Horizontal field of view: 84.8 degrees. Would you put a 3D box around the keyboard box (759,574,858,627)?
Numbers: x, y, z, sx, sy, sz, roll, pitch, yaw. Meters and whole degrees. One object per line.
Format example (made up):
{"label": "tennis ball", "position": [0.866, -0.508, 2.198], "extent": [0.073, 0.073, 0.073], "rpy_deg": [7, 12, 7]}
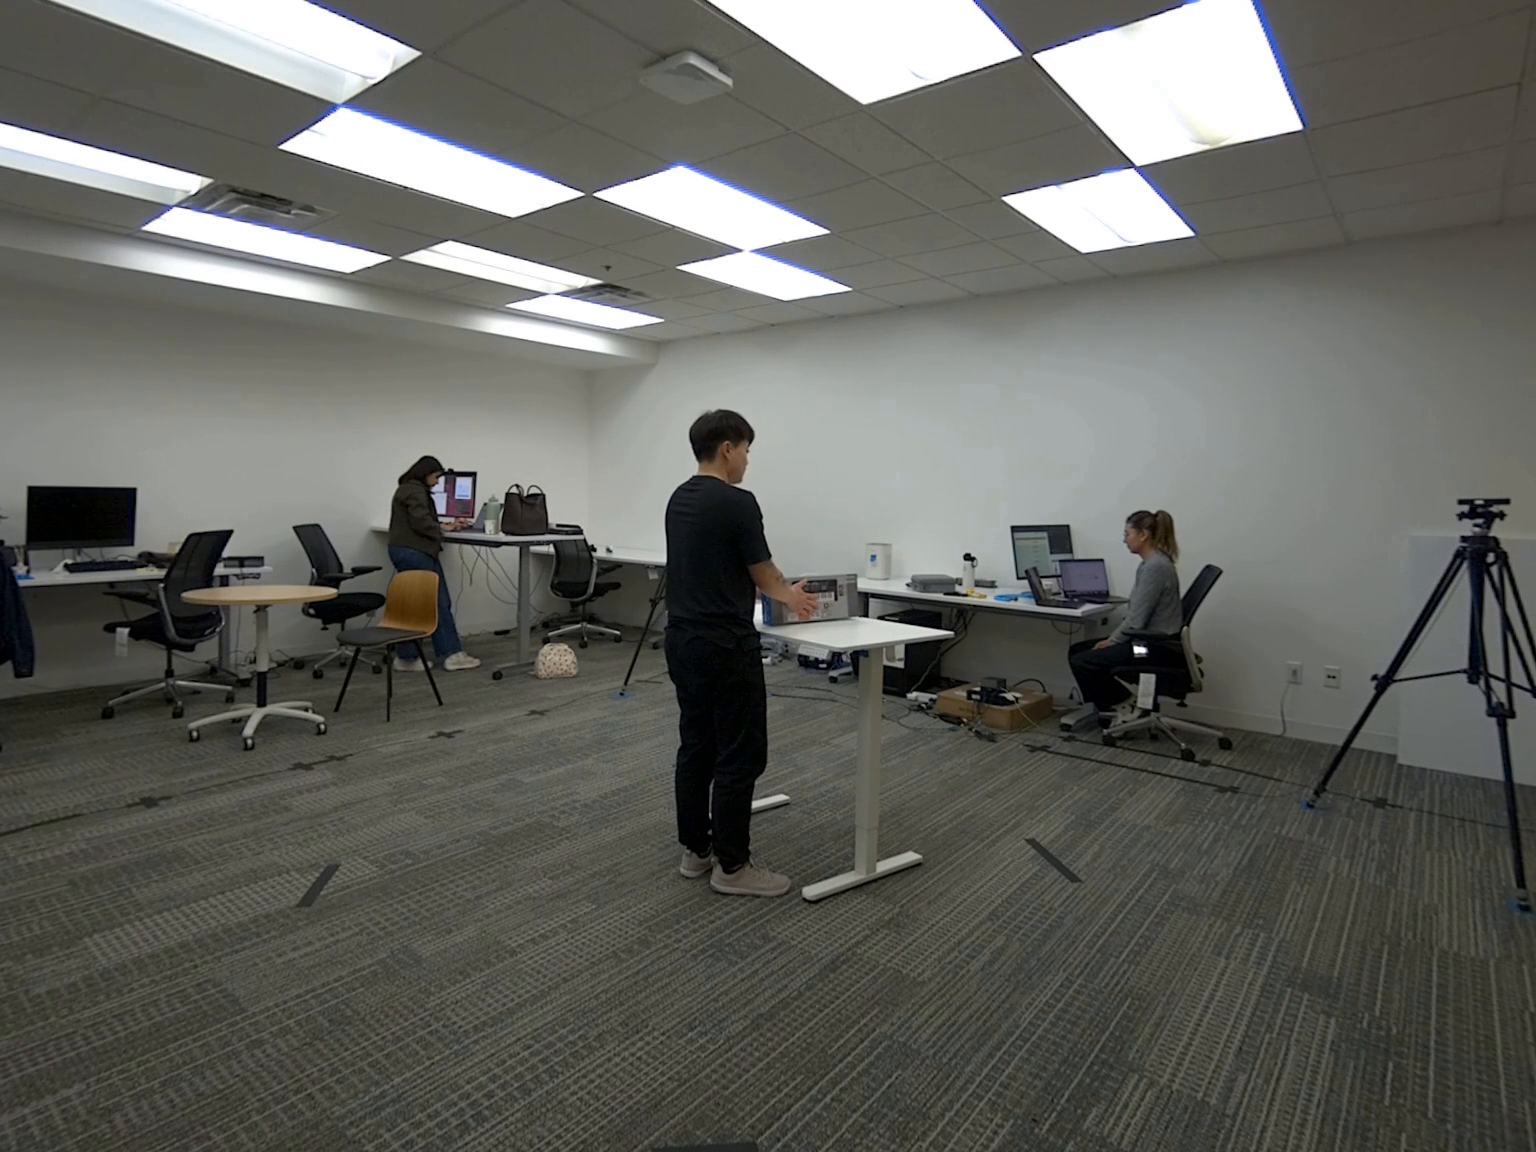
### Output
{"label": "keyboard box", "position": [0.162, 0.086, 3.308], "extent": [0.425, 0.176, 0.060], "rpy_deg": [-3, -1, -33]}
